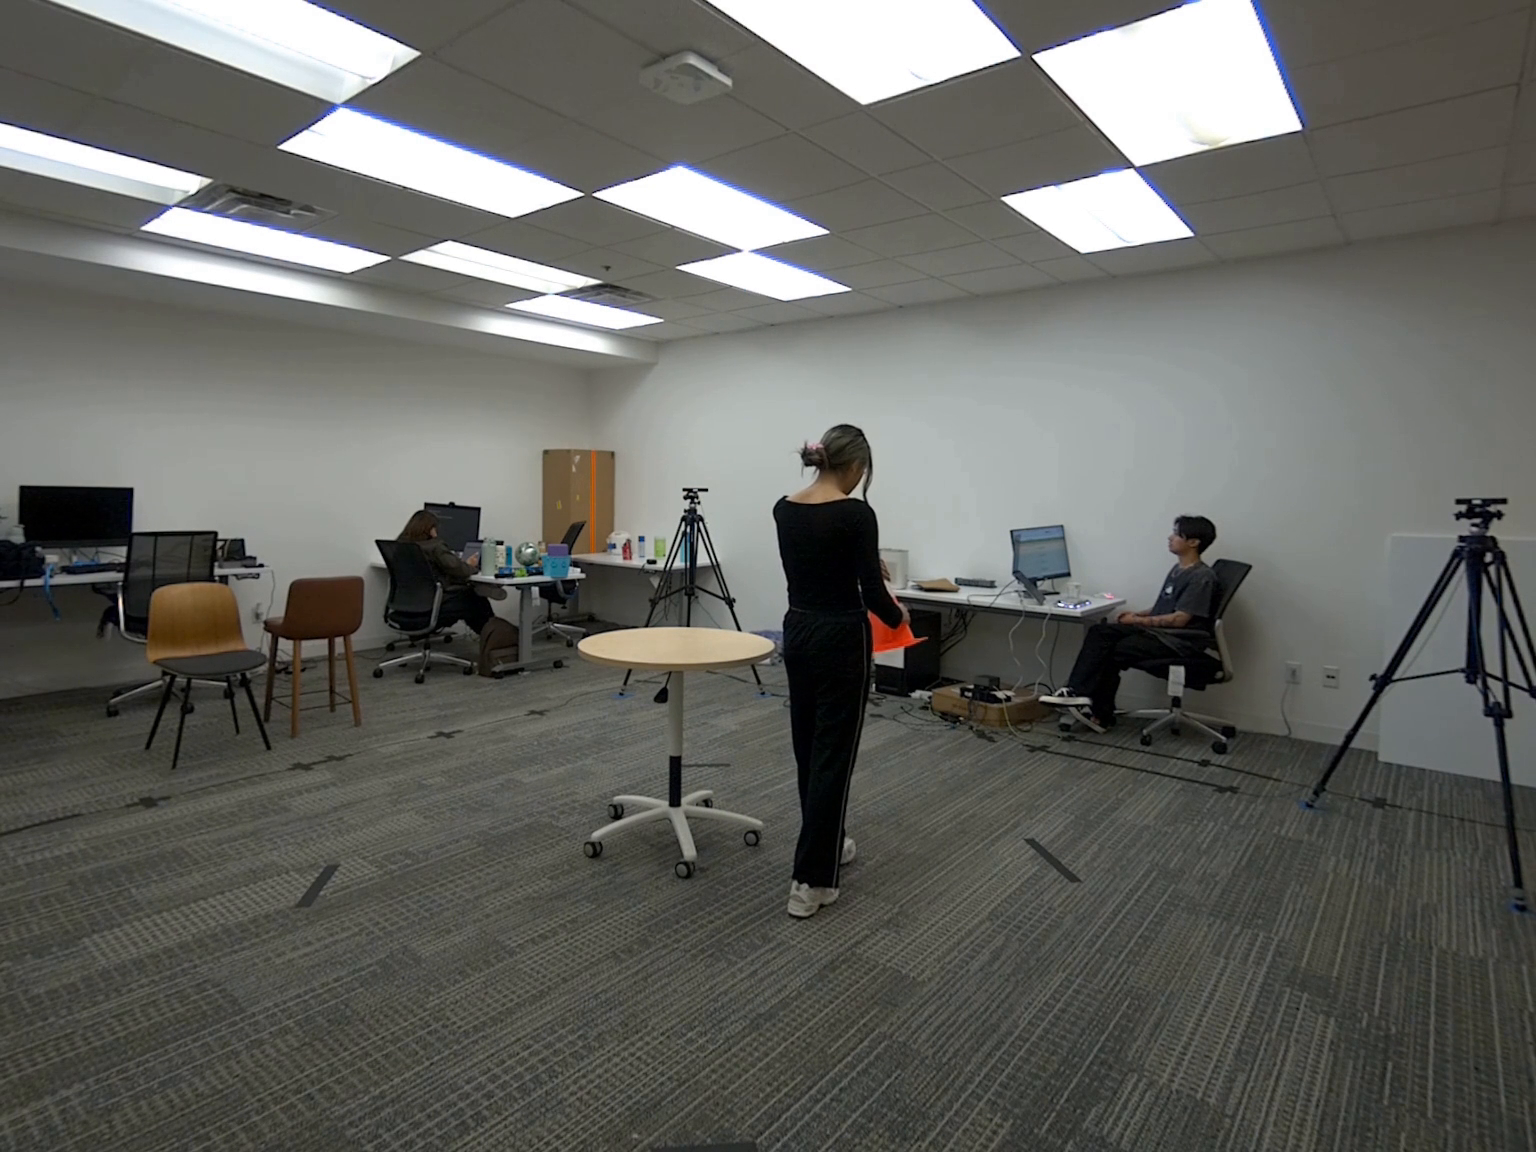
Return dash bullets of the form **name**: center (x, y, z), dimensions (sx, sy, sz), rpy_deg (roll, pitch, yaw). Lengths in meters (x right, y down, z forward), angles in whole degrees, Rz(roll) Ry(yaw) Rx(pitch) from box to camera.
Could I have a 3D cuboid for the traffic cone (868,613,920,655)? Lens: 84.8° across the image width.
- **traffic cone**: center (0.411, 0.075, 3.169), dimensions (0.202, 0.390, 0.202), rpy_deg (-8, -15, -15)
